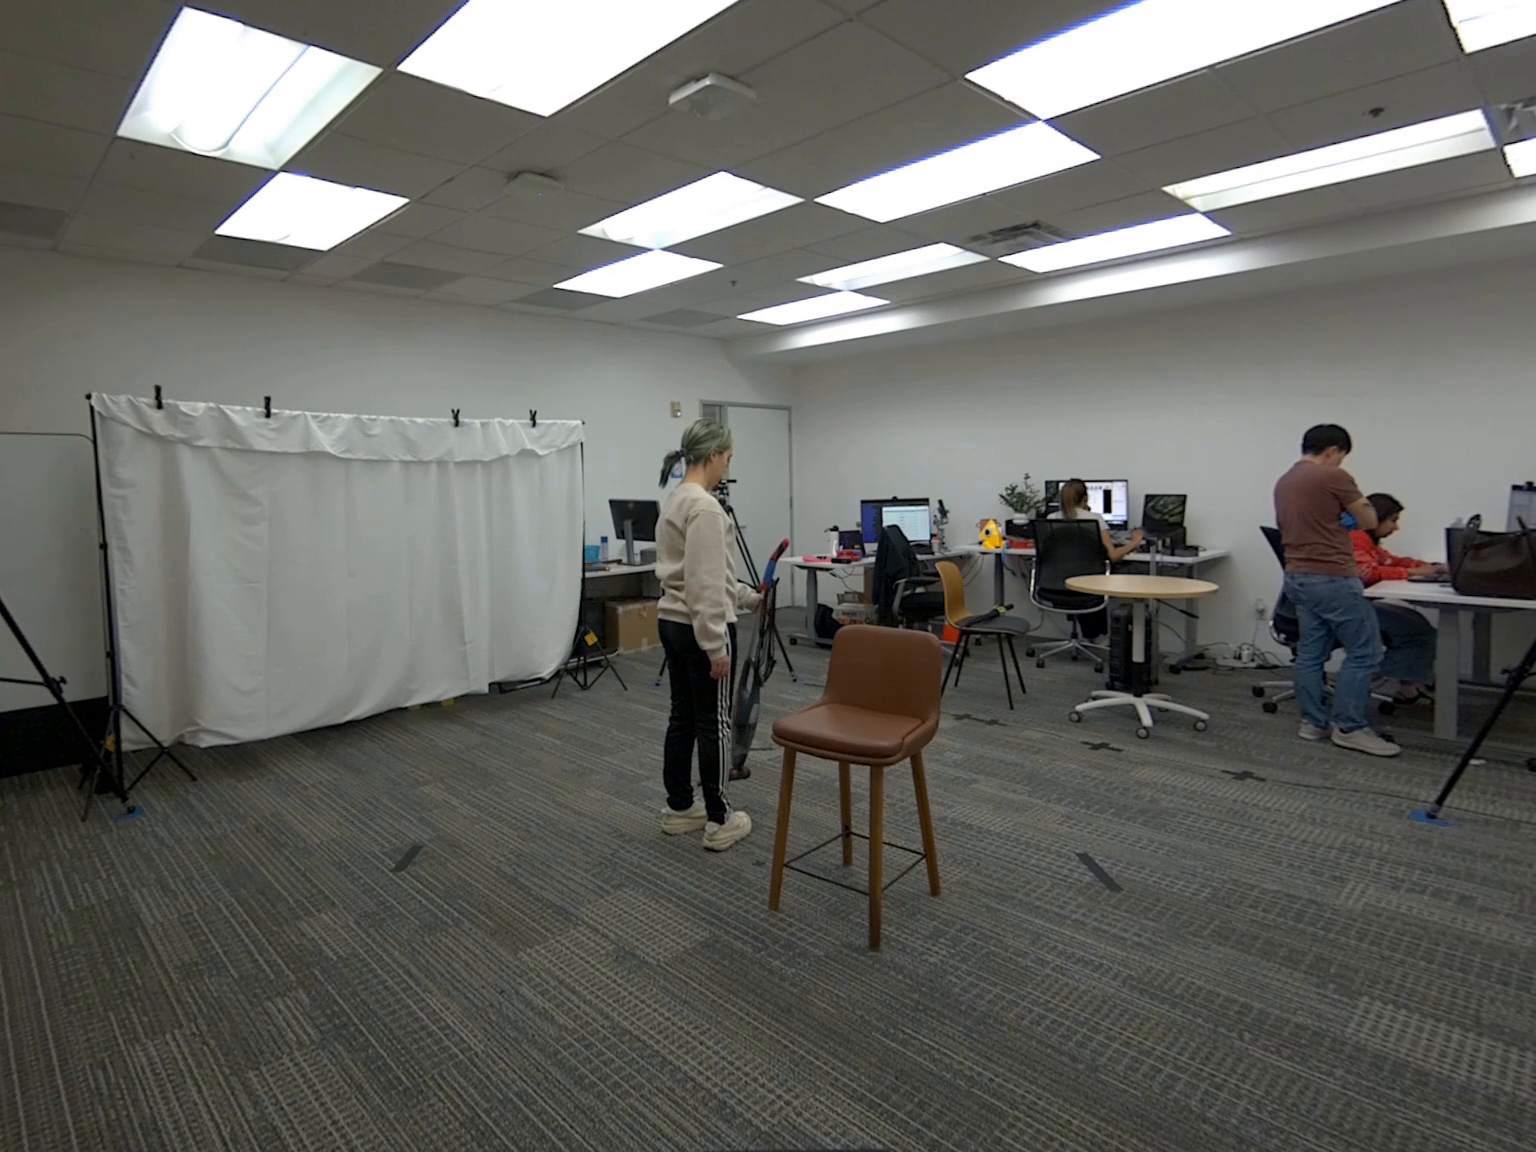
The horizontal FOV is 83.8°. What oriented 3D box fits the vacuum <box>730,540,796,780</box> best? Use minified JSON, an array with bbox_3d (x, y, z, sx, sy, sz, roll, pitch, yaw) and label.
[{"bbox_3d":[-0.047,0.372,3.595,0.149,1.045,0.244,19,9,41],"label":"vacuum"}]
